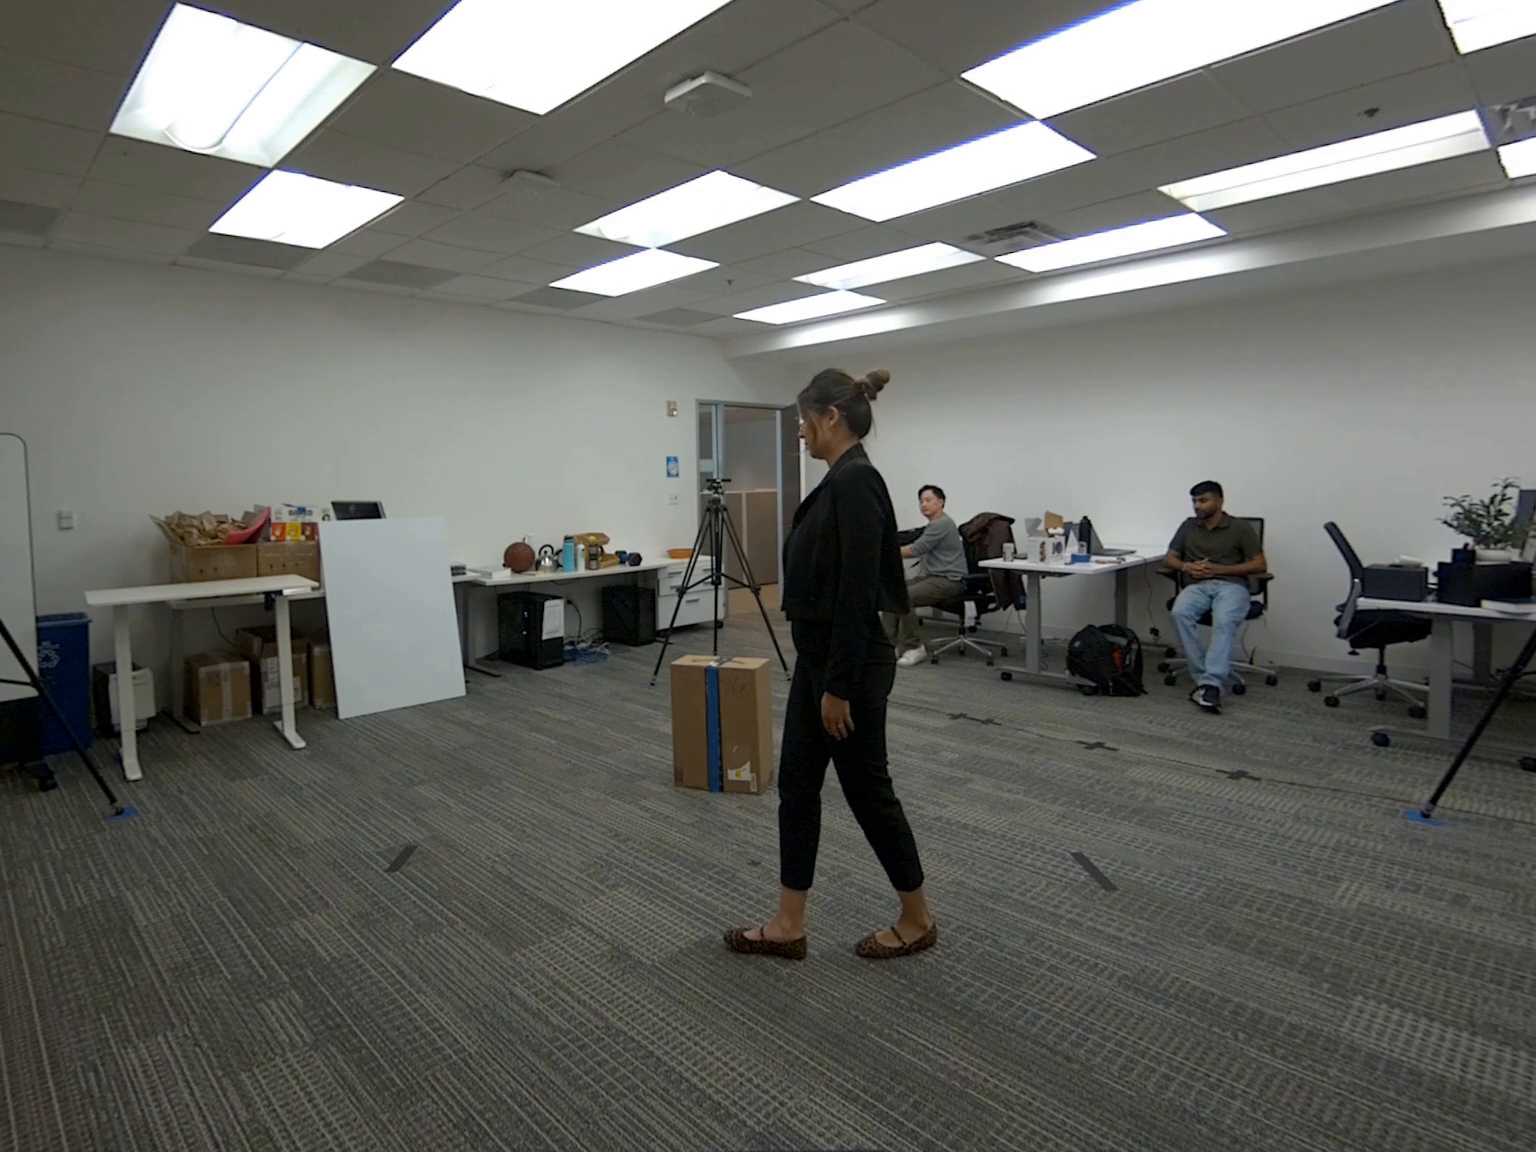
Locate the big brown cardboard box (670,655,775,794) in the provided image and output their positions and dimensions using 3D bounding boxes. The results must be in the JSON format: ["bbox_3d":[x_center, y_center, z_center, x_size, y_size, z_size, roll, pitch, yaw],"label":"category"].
[{"bbox_3d":[-0.214,0.677,3.929,0.425,0.588,0.229,-1,3,19],"label":"big brown cardboard box"}]
